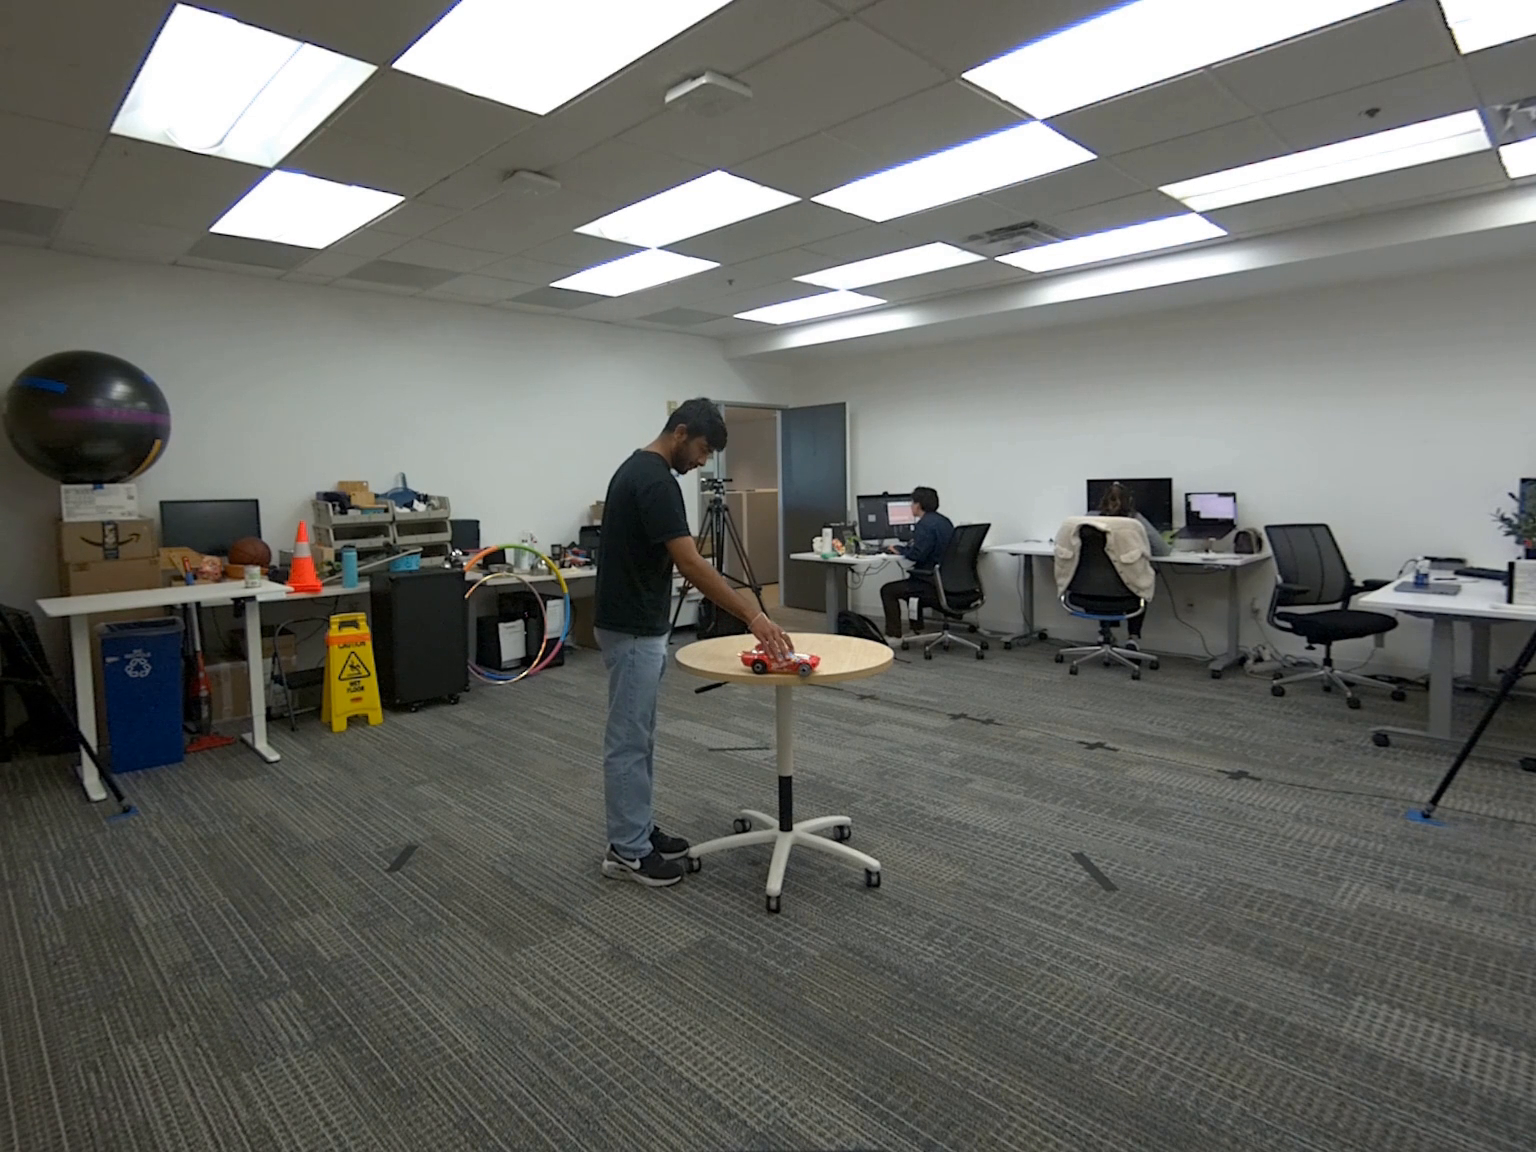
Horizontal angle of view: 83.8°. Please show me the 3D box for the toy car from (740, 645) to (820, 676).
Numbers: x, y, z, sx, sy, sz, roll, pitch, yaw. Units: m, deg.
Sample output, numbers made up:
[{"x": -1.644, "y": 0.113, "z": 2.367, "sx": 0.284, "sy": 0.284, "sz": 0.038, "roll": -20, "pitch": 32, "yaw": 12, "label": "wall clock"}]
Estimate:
[{"x": 0.038, "y": 0.273, "z": 2.707, "sx": 0.259, "sy": 0.083, "sz": 0.129, "roll": 13, "pitch": 8, "yaw": 14, "label": "toy car"}]
